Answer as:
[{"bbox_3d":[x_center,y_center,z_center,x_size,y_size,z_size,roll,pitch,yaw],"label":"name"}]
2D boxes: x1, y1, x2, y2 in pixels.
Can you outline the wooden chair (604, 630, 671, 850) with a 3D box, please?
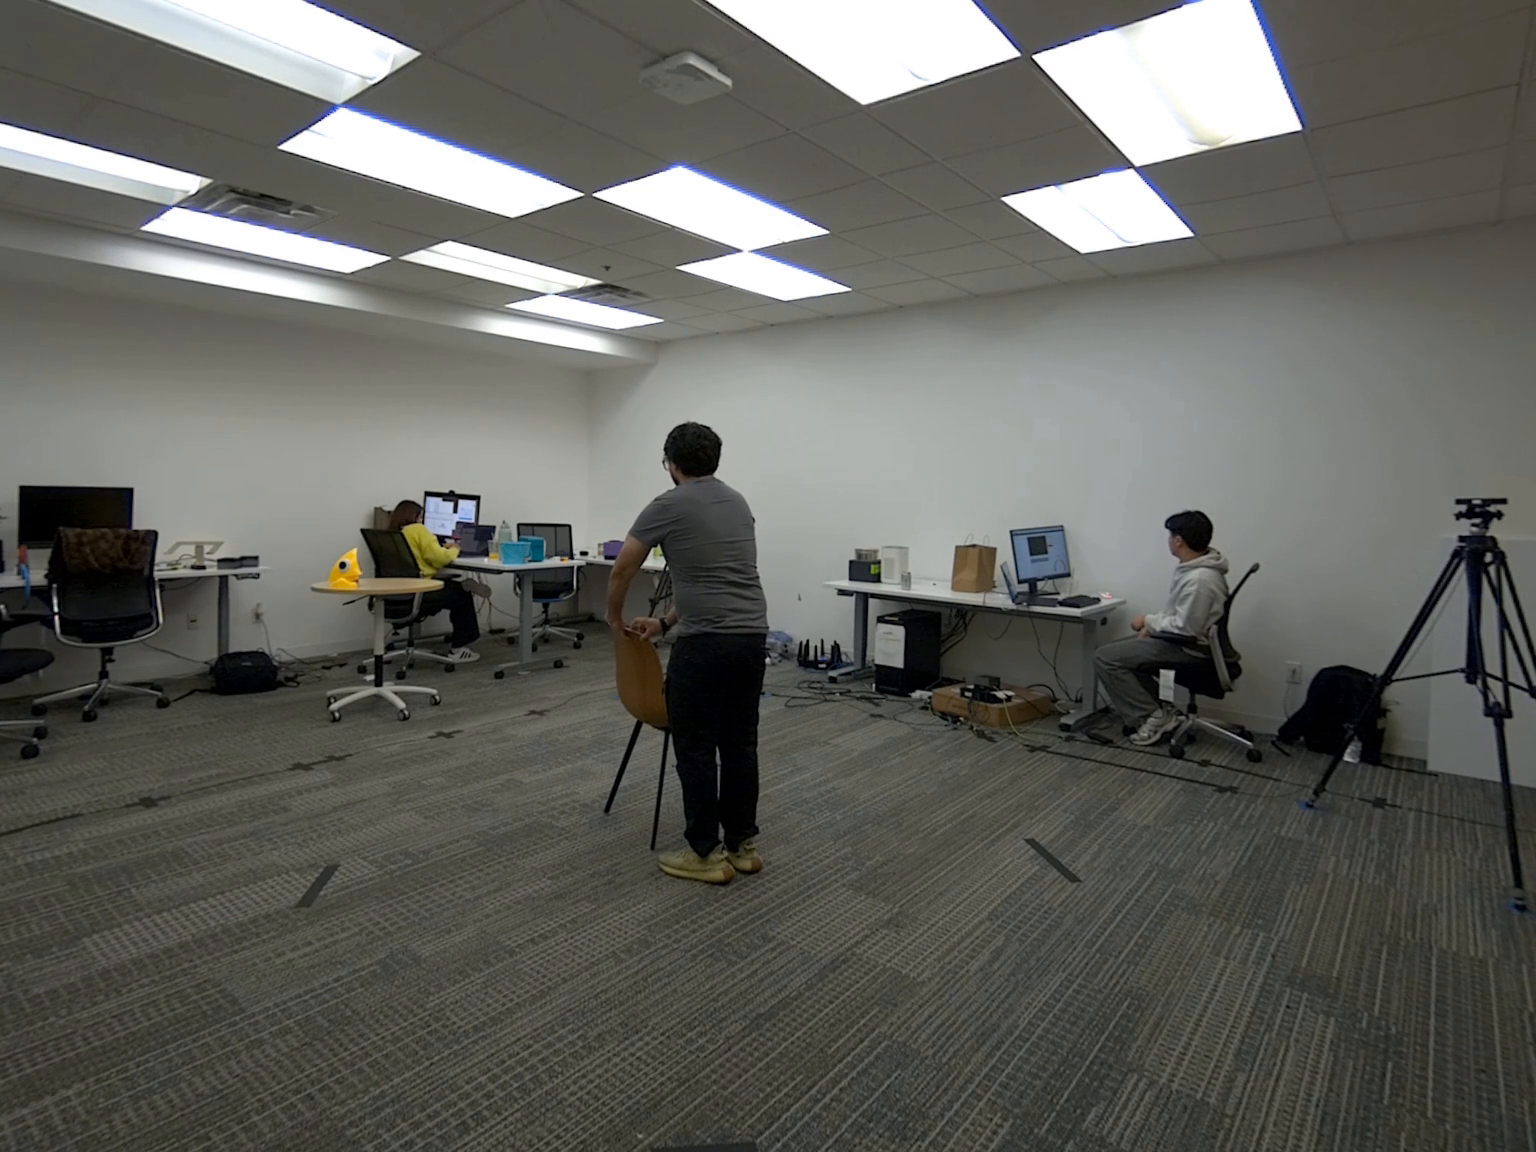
[{"bbox_3d":[-0.393,0.599,3.550,0.509,0.872,0.494,-6,7,-34],"label":"wooden chair"}]
